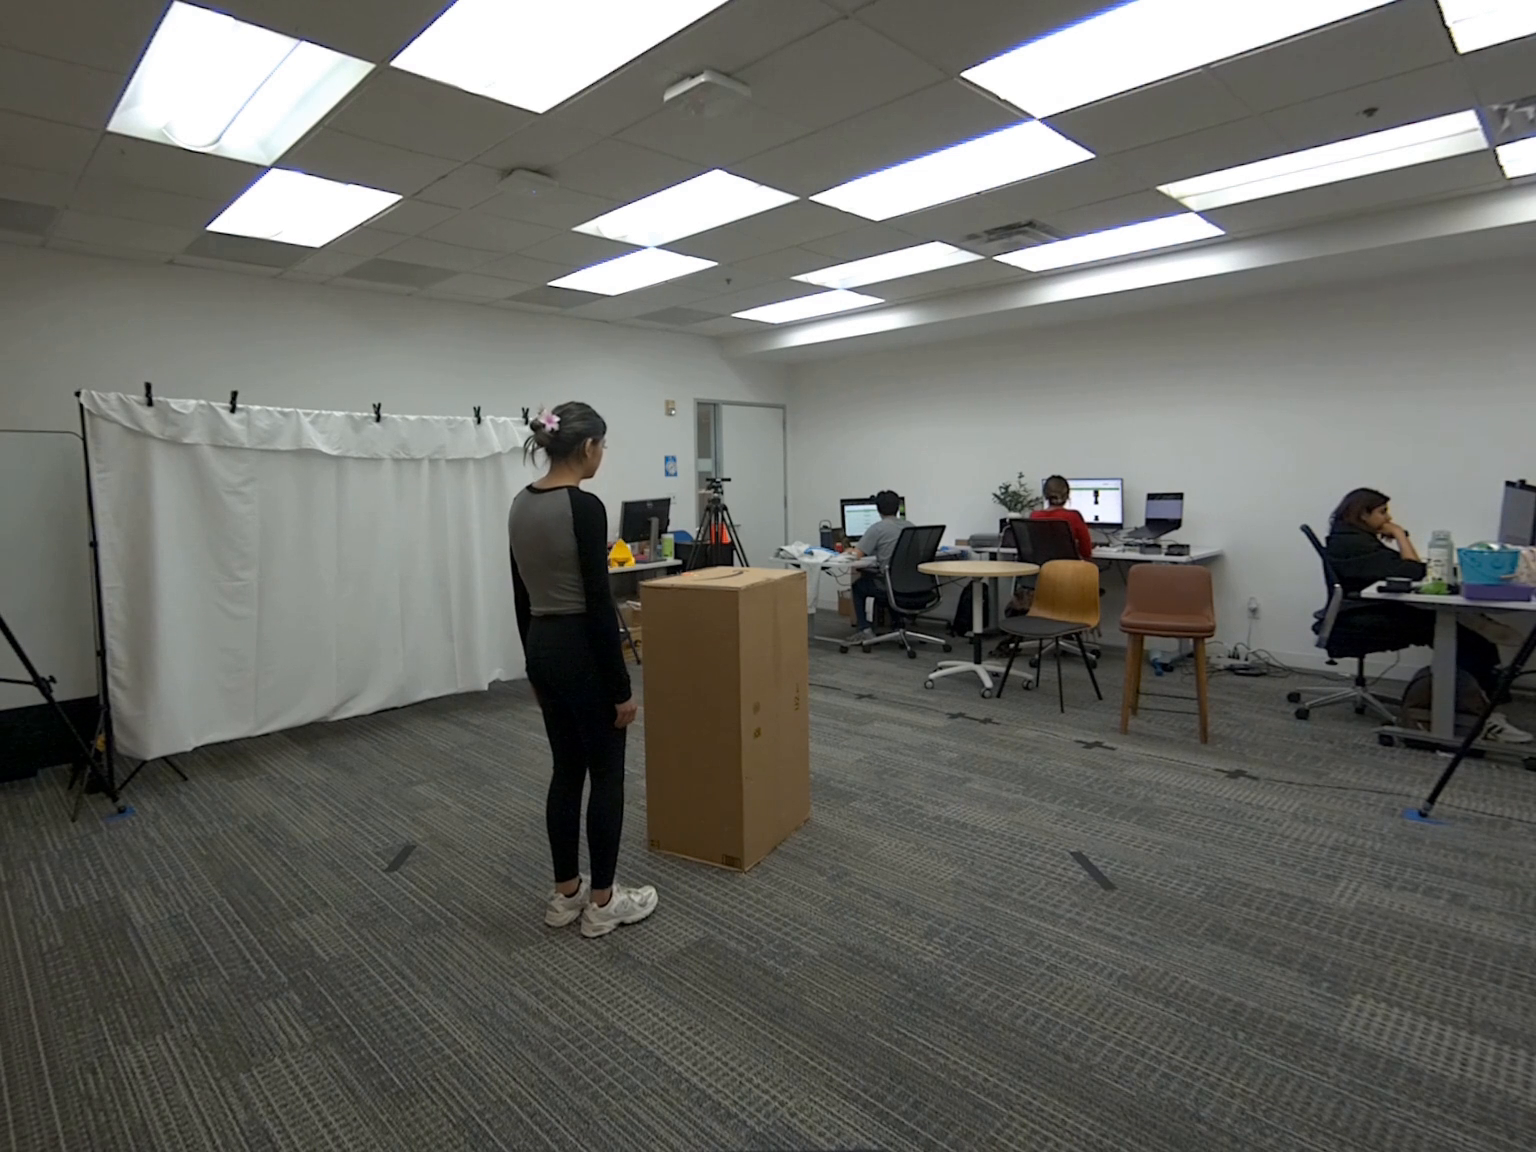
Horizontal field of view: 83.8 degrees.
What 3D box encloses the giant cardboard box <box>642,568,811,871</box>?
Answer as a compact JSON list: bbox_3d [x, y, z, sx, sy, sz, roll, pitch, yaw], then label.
[{"bbox_3d":[-0.151,0.511,3.340,0.458,1.023,0.572,2,5,28],"label":"giant cardboard box"}]
